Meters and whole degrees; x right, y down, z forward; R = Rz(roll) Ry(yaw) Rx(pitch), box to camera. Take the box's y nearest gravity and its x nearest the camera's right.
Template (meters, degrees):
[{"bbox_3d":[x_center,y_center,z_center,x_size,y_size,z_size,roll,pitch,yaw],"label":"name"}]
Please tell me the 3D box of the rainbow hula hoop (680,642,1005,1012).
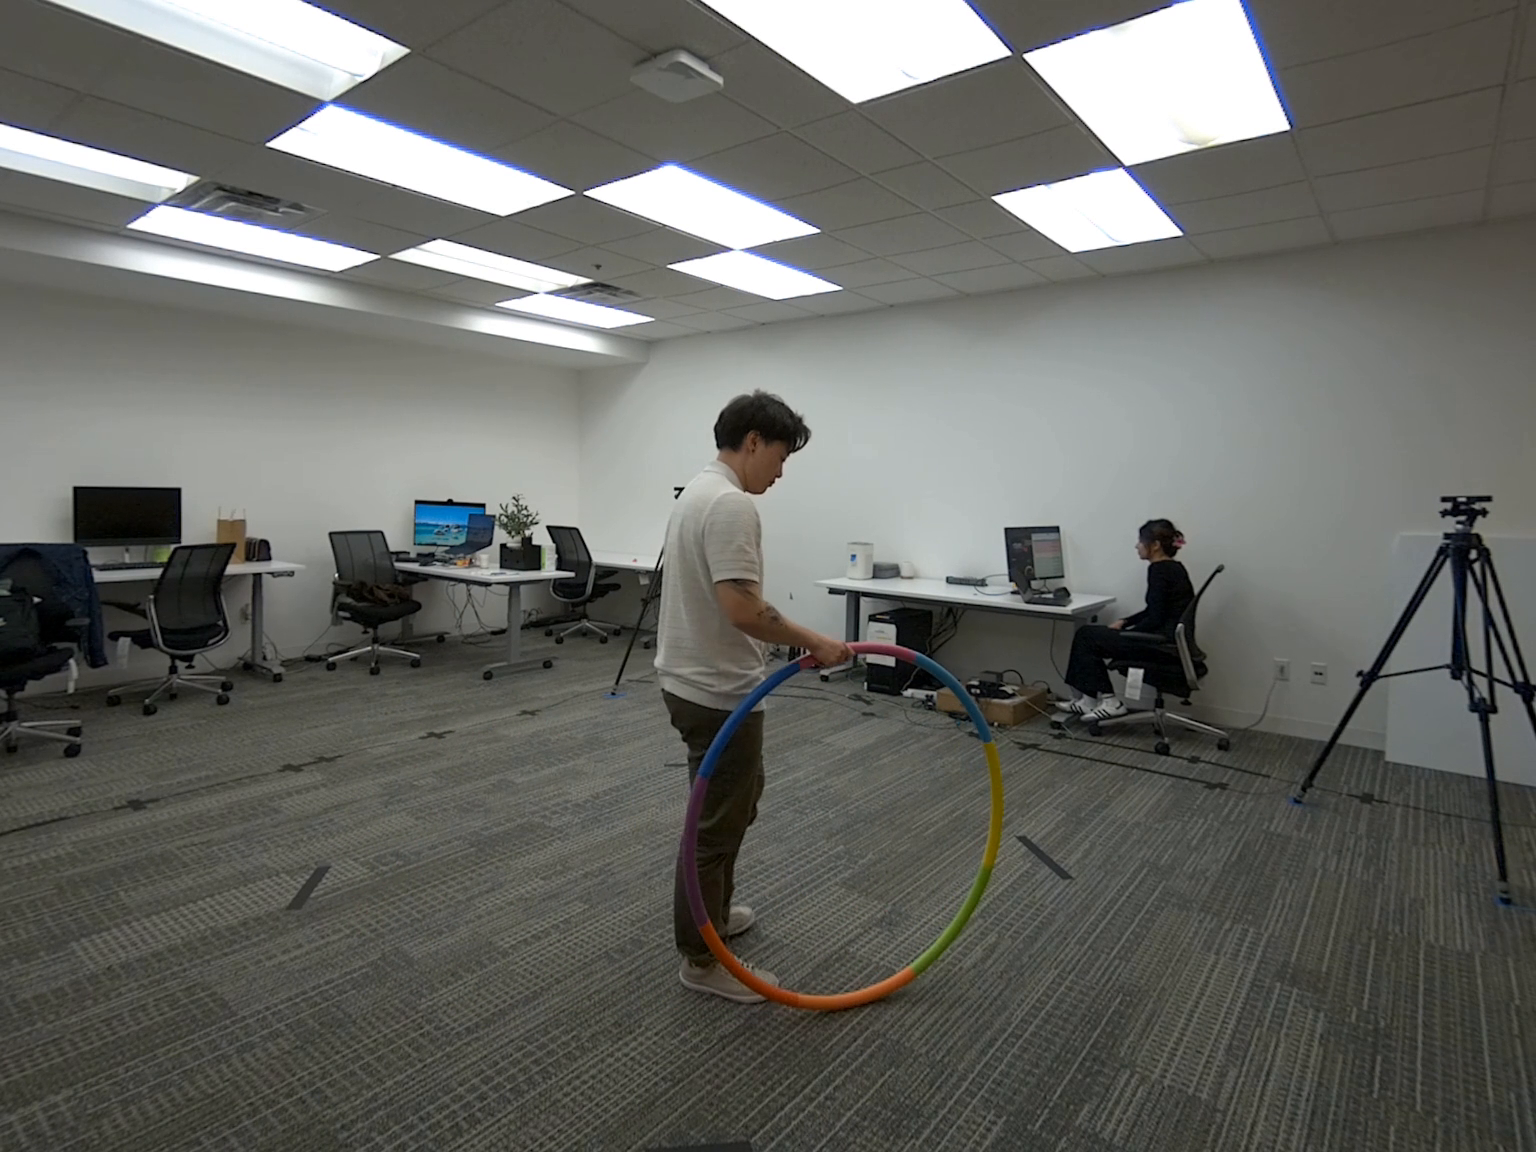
[{"bbox_3d":[0.227,0.665,2.297,0.957,0.977,0.036,-1,1,-22],"label":"rainbow hula hoop"}]
